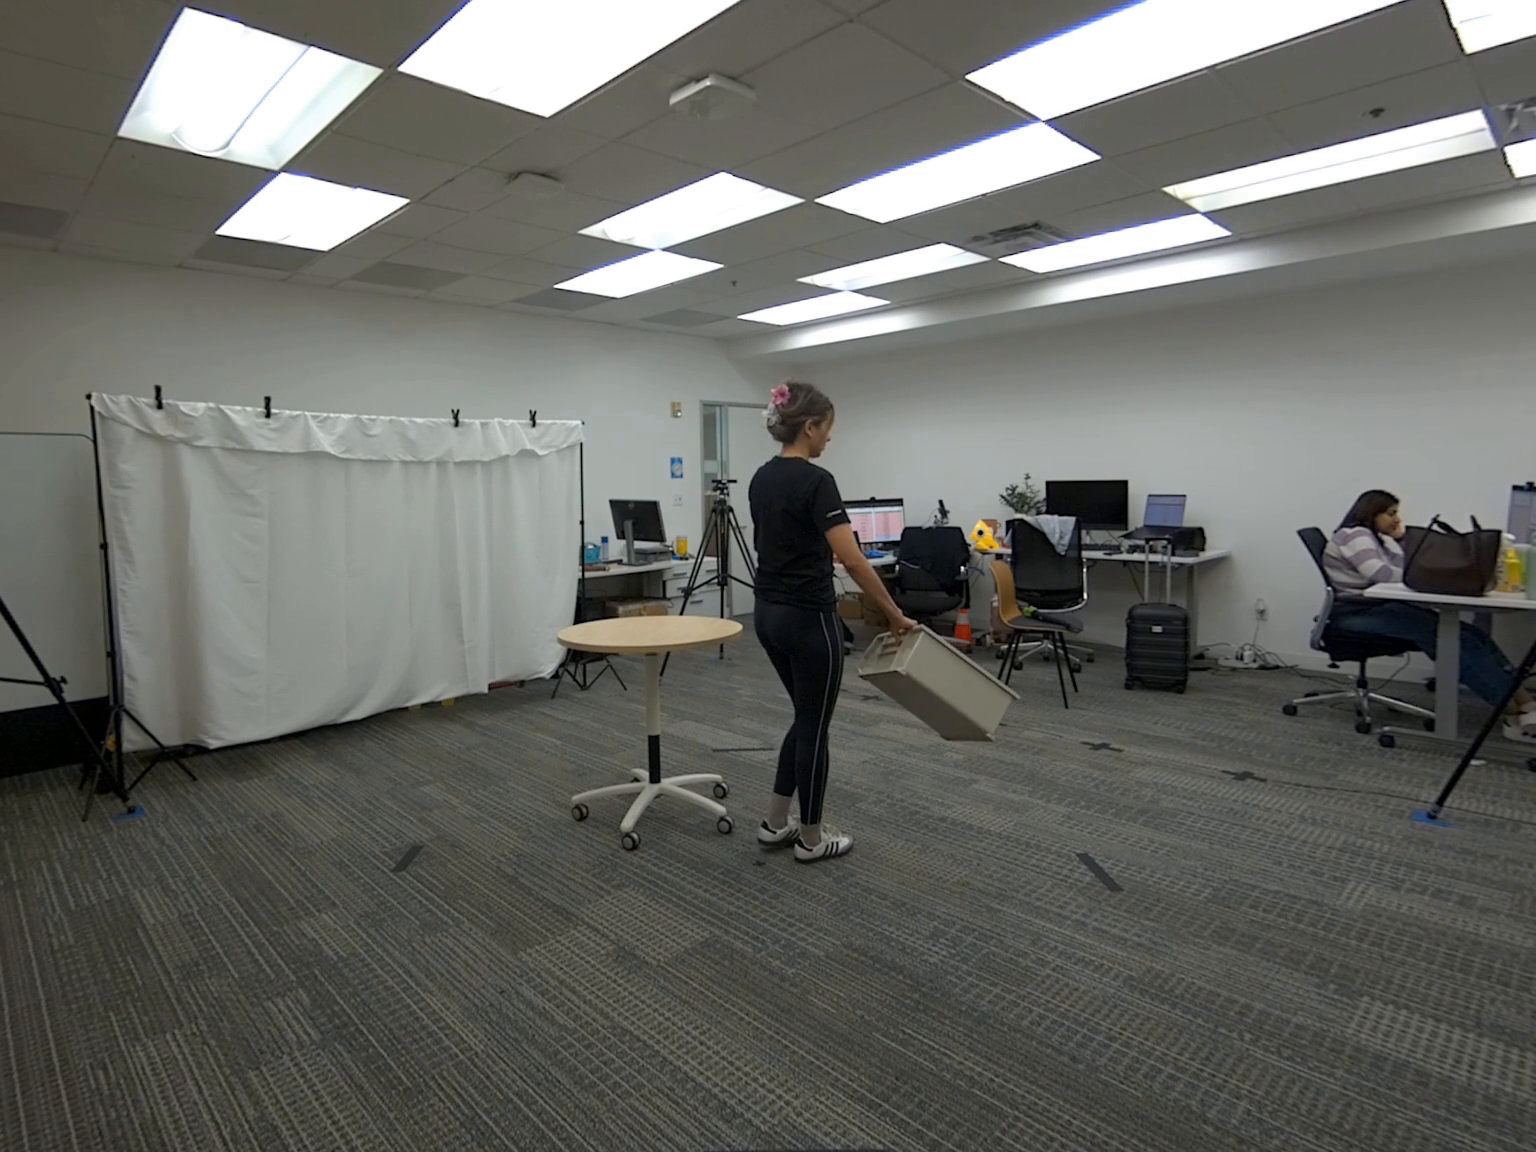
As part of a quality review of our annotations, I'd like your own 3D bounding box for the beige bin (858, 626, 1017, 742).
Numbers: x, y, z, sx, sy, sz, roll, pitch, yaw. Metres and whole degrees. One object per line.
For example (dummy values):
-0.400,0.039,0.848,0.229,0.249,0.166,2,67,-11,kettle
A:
0.570,0.384,2.990,0.418,0.190,0.380,37,-19,-8,beige bin
